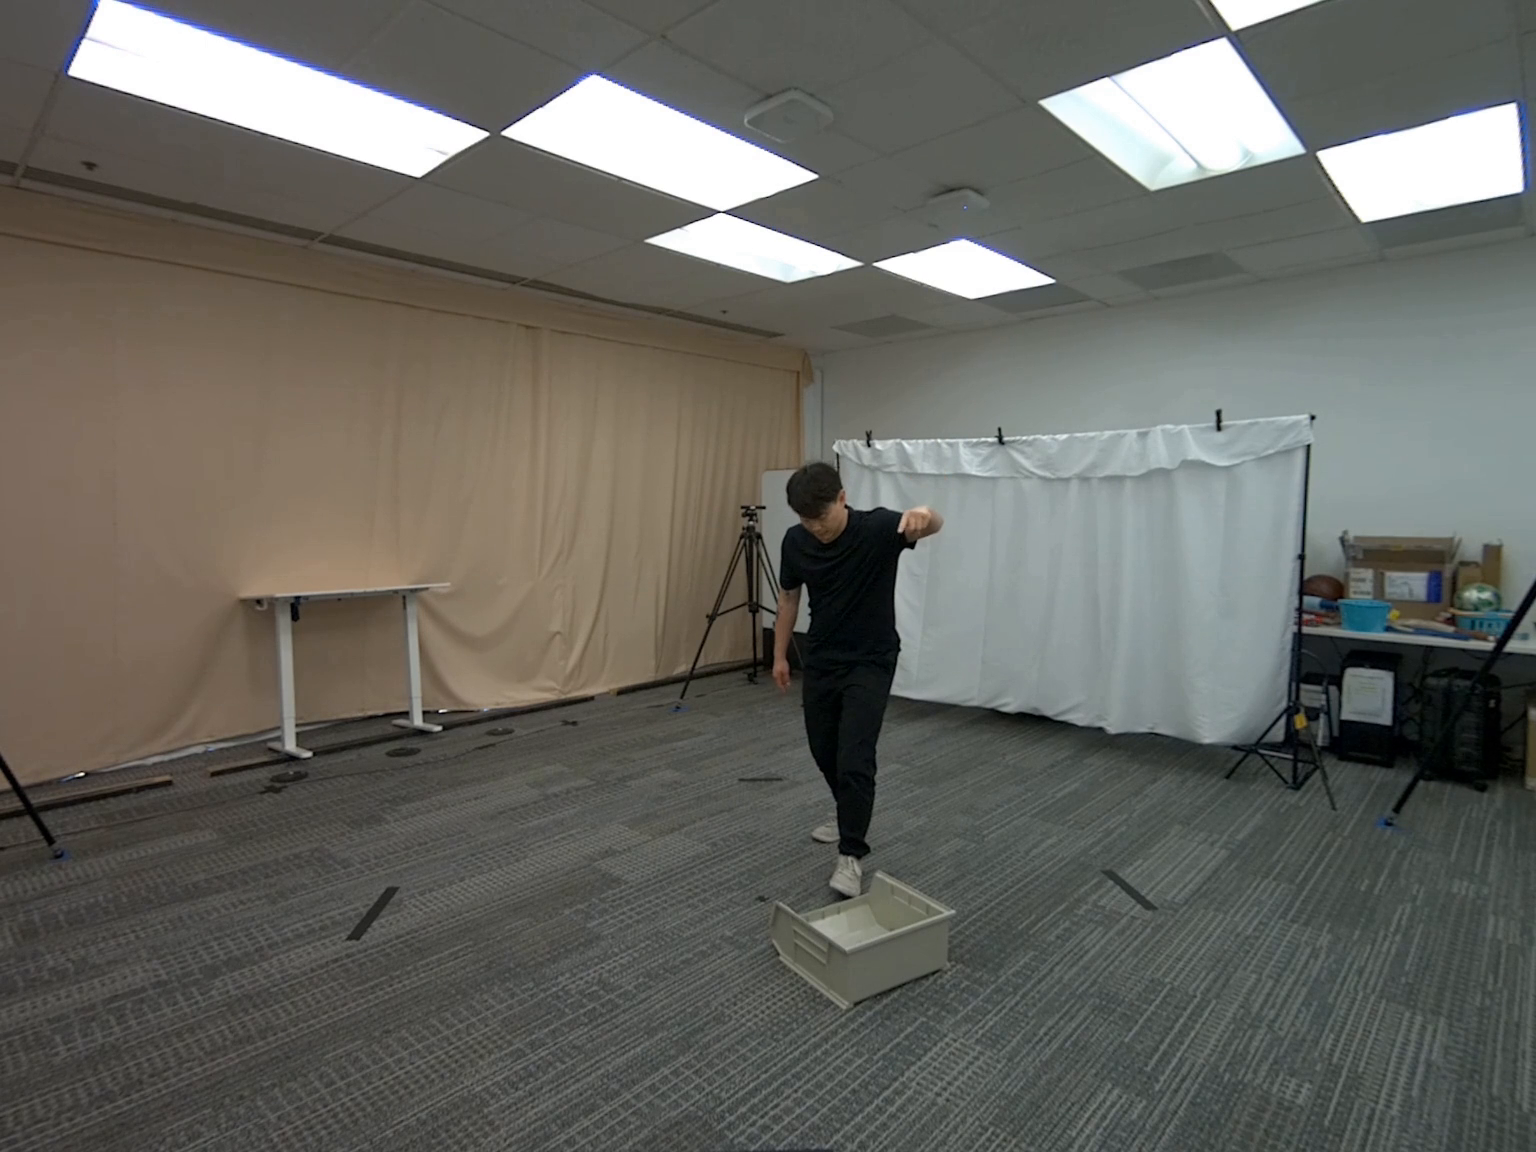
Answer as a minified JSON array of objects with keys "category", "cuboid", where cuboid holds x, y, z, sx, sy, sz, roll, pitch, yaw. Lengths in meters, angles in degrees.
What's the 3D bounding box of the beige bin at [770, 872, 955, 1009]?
[{"category":"beige bin","cuboid":[0.286,1.091,2.566,0.410,0.188,0.389,-2,5,-33]}]
